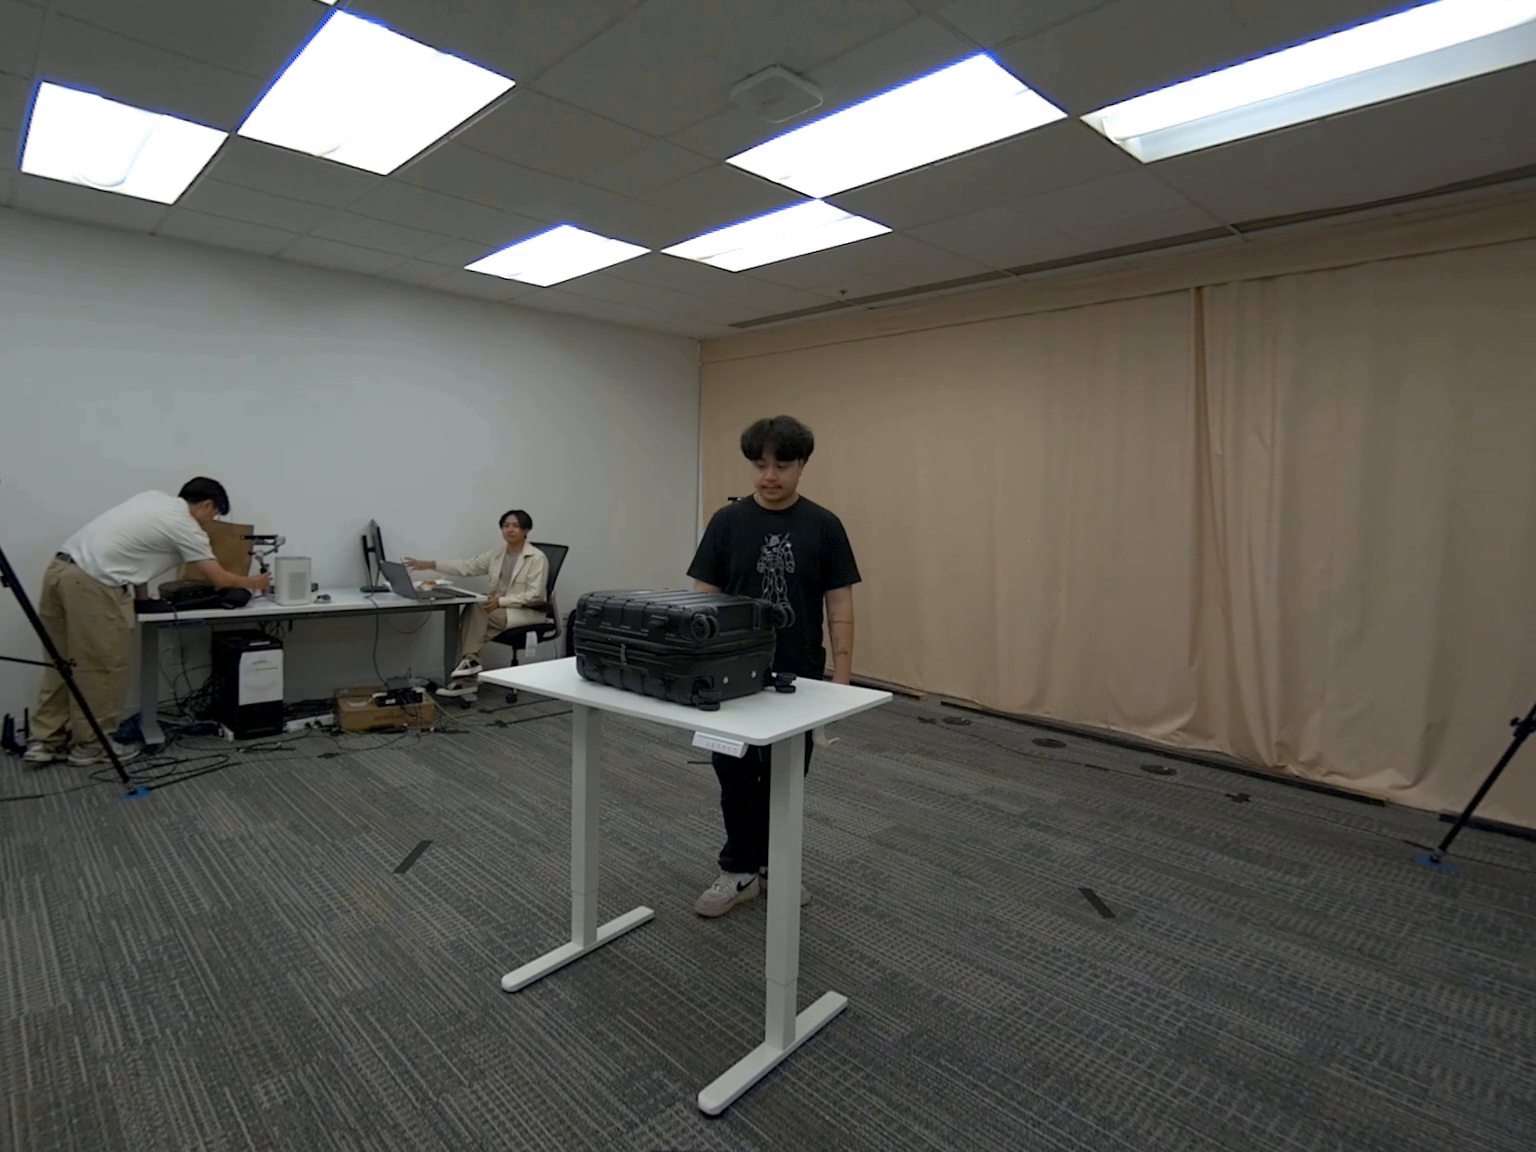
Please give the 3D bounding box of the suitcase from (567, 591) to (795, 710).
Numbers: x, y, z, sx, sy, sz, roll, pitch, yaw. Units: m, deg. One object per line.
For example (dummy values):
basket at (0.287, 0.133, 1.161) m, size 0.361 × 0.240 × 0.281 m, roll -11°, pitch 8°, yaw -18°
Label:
suitcase at (-0.258, 0.185, 2.266) m, size 0.563 × 0.247 × 0.367 m, roll 6°, pitch 7°, yaw 44°
